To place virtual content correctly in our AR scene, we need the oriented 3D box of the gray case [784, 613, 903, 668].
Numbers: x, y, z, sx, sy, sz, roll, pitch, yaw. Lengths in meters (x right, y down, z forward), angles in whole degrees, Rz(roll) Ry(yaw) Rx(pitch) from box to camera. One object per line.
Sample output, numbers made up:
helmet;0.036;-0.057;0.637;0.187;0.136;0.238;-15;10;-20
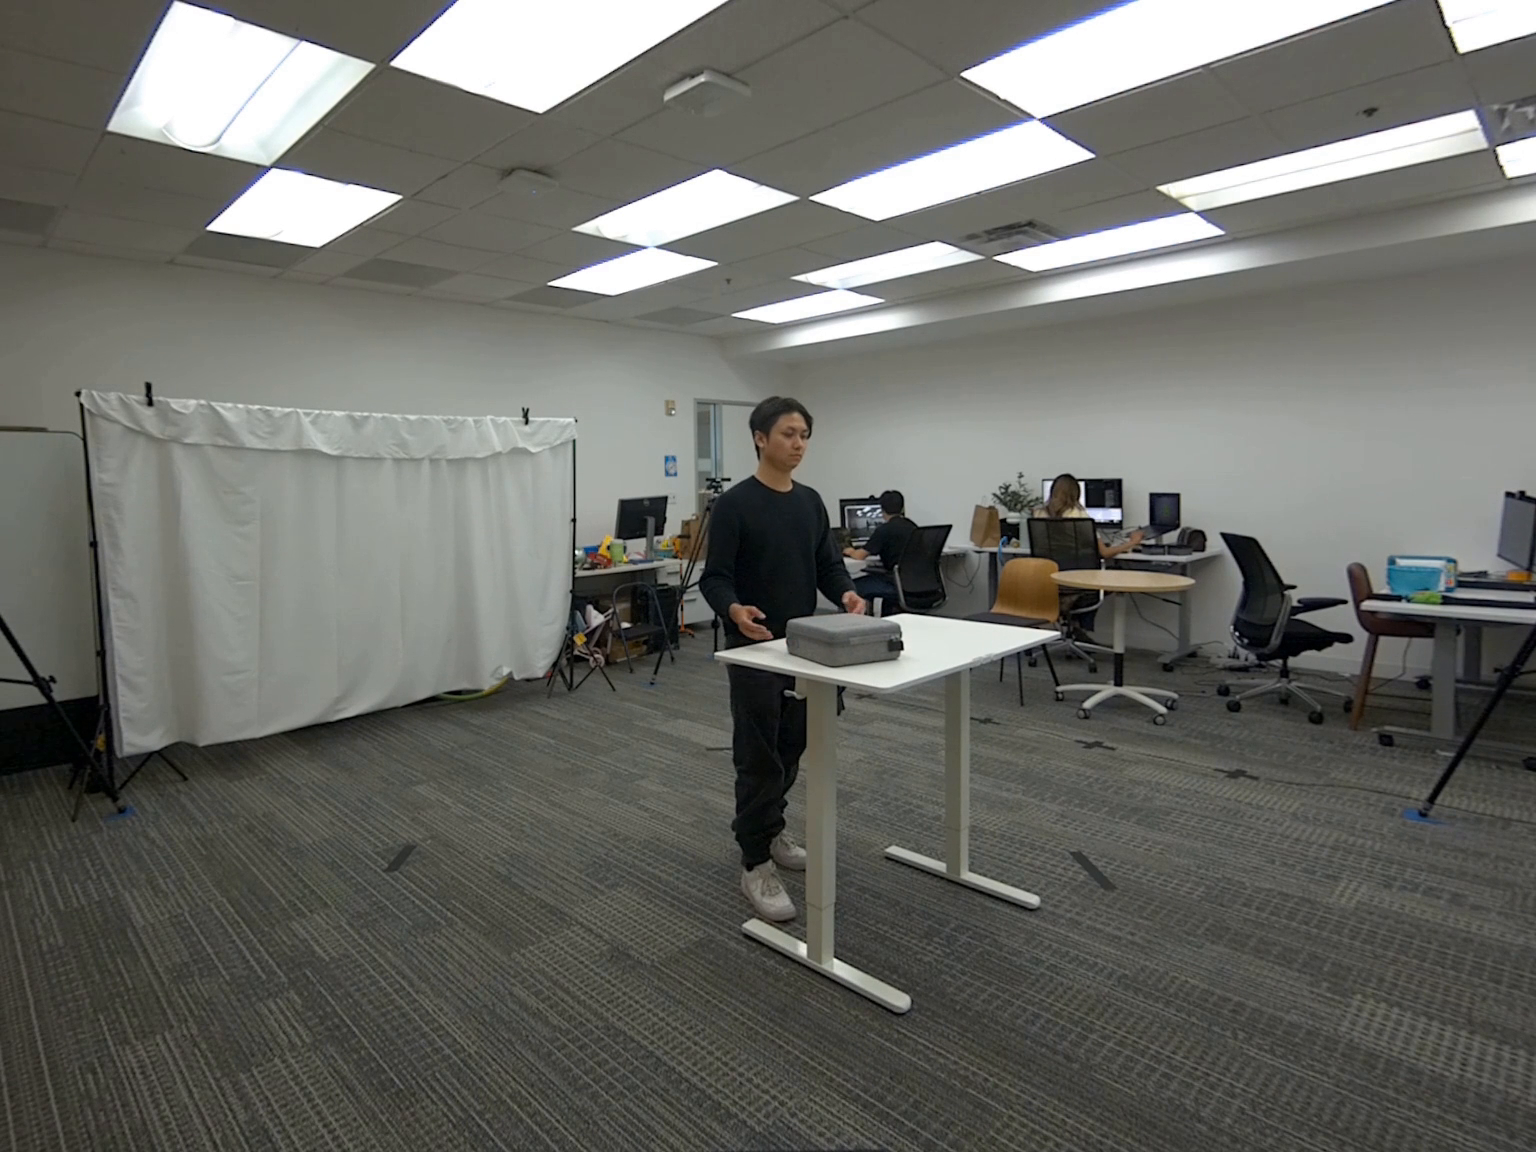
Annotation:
gray case;0.212;0.178;2.438;0.251;0.104;0.267;-6;7;-27
